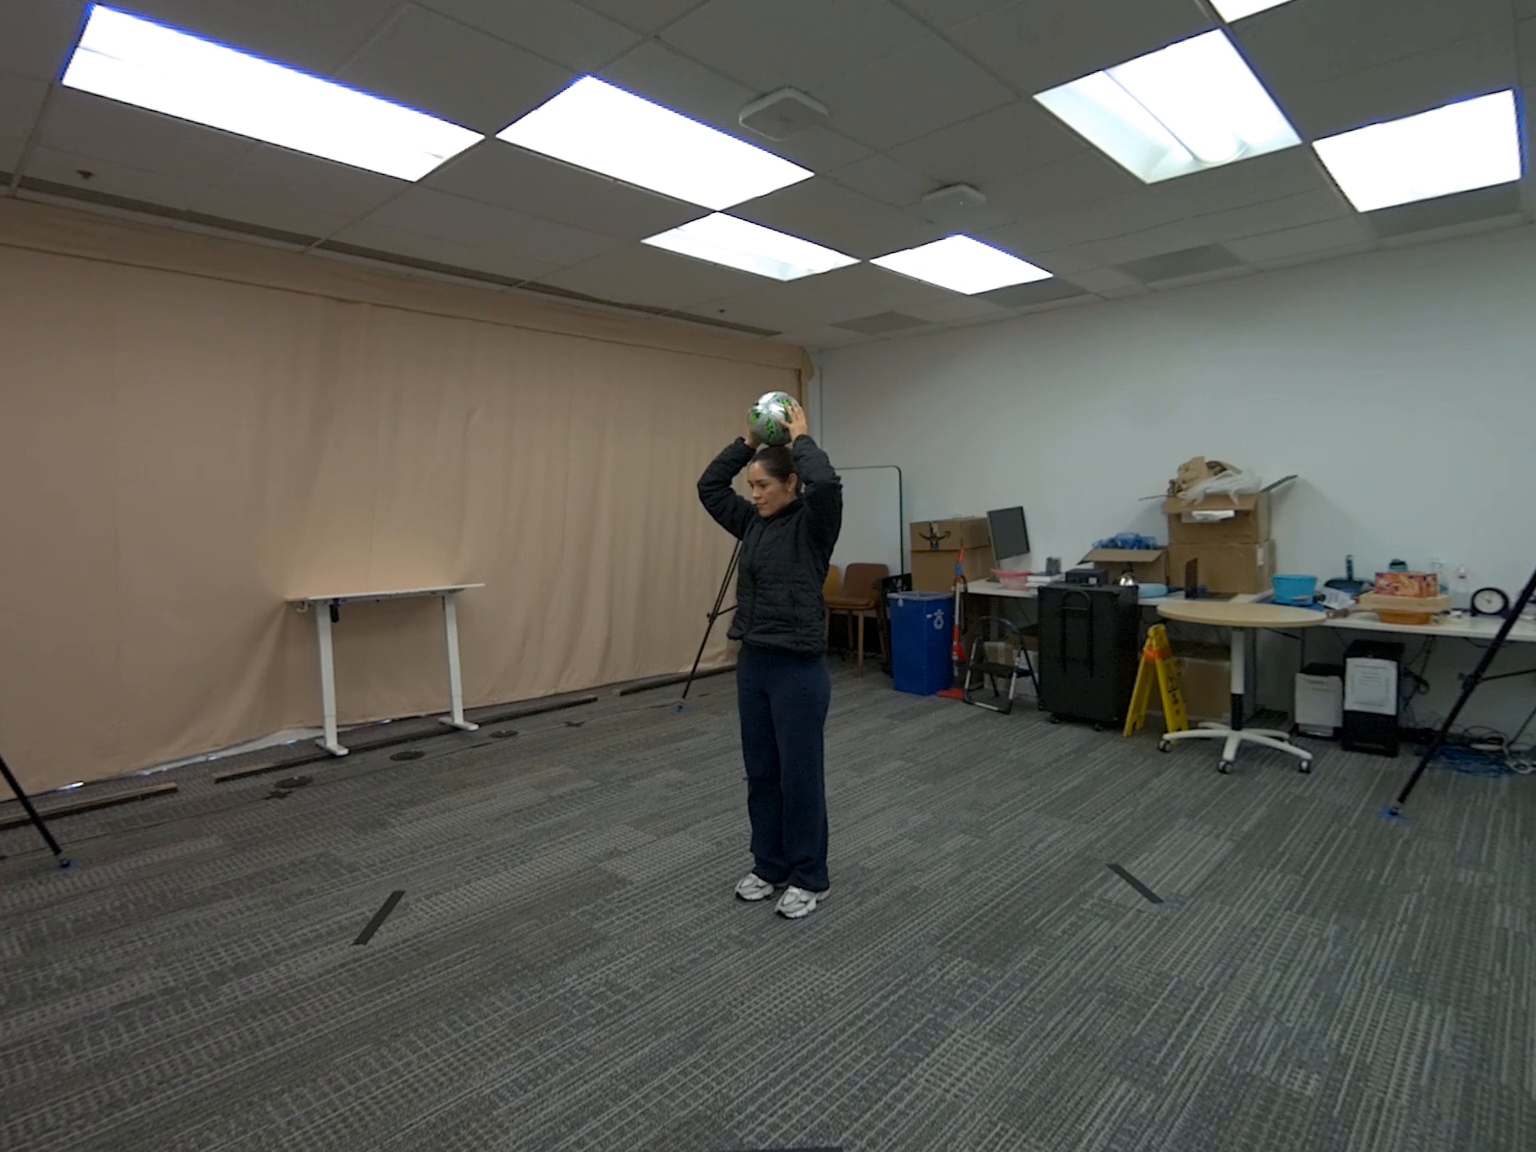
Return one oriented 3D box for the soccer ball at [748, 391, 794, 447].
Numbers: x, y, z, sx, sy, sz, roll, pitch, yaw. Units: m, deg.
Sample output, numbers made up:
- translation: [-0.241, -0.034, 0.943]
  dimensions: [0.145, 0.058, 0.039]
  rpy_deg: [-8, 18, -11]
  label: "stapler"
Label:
- translation: [0.028, -0.540, 2.906]
  dimensions: [0.187, 0.187, 0.188]
  rpy_deg: [-1, 4, -2]
  label: "soccer ball"
